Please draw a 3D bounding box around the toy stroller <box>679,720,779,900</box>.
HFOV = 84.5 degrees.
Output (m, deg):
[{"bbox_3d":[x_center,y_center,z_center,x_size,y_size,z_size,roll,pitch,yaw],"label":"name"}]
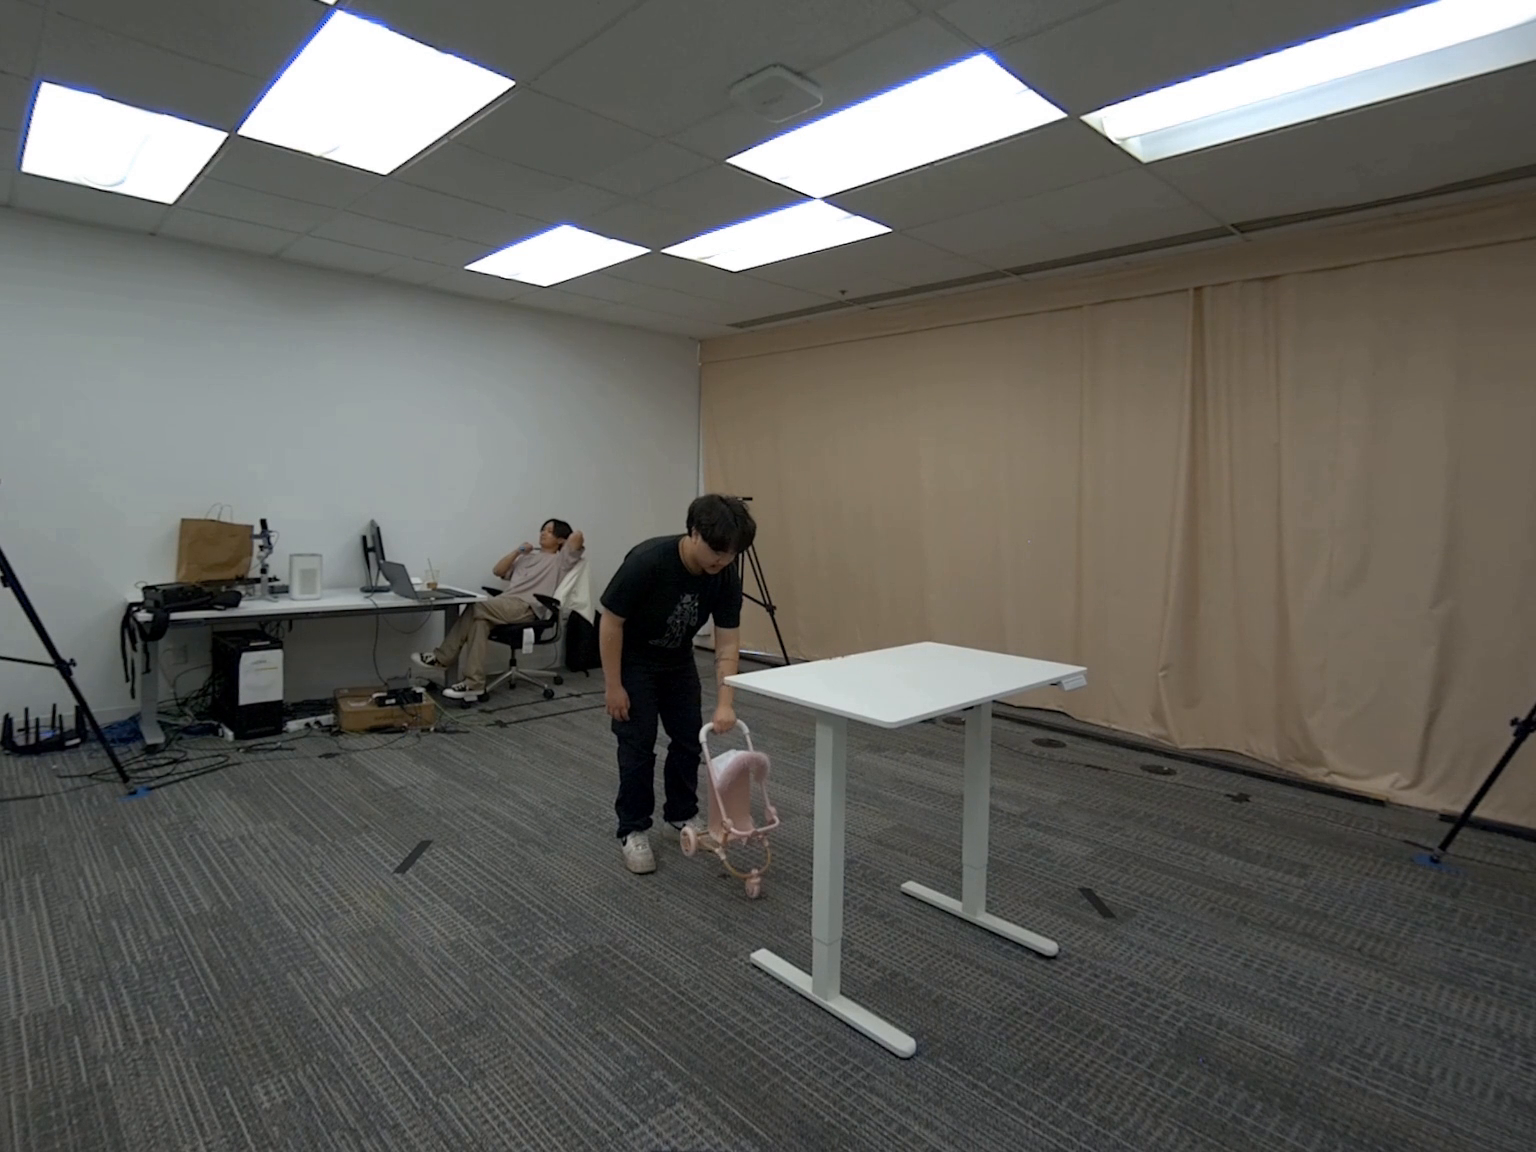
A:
[{"bbox_3d":[-0.116,0.830,2.999,0.275,0.531,0.351,0,12,-32],"label":"toy stroller"}]
